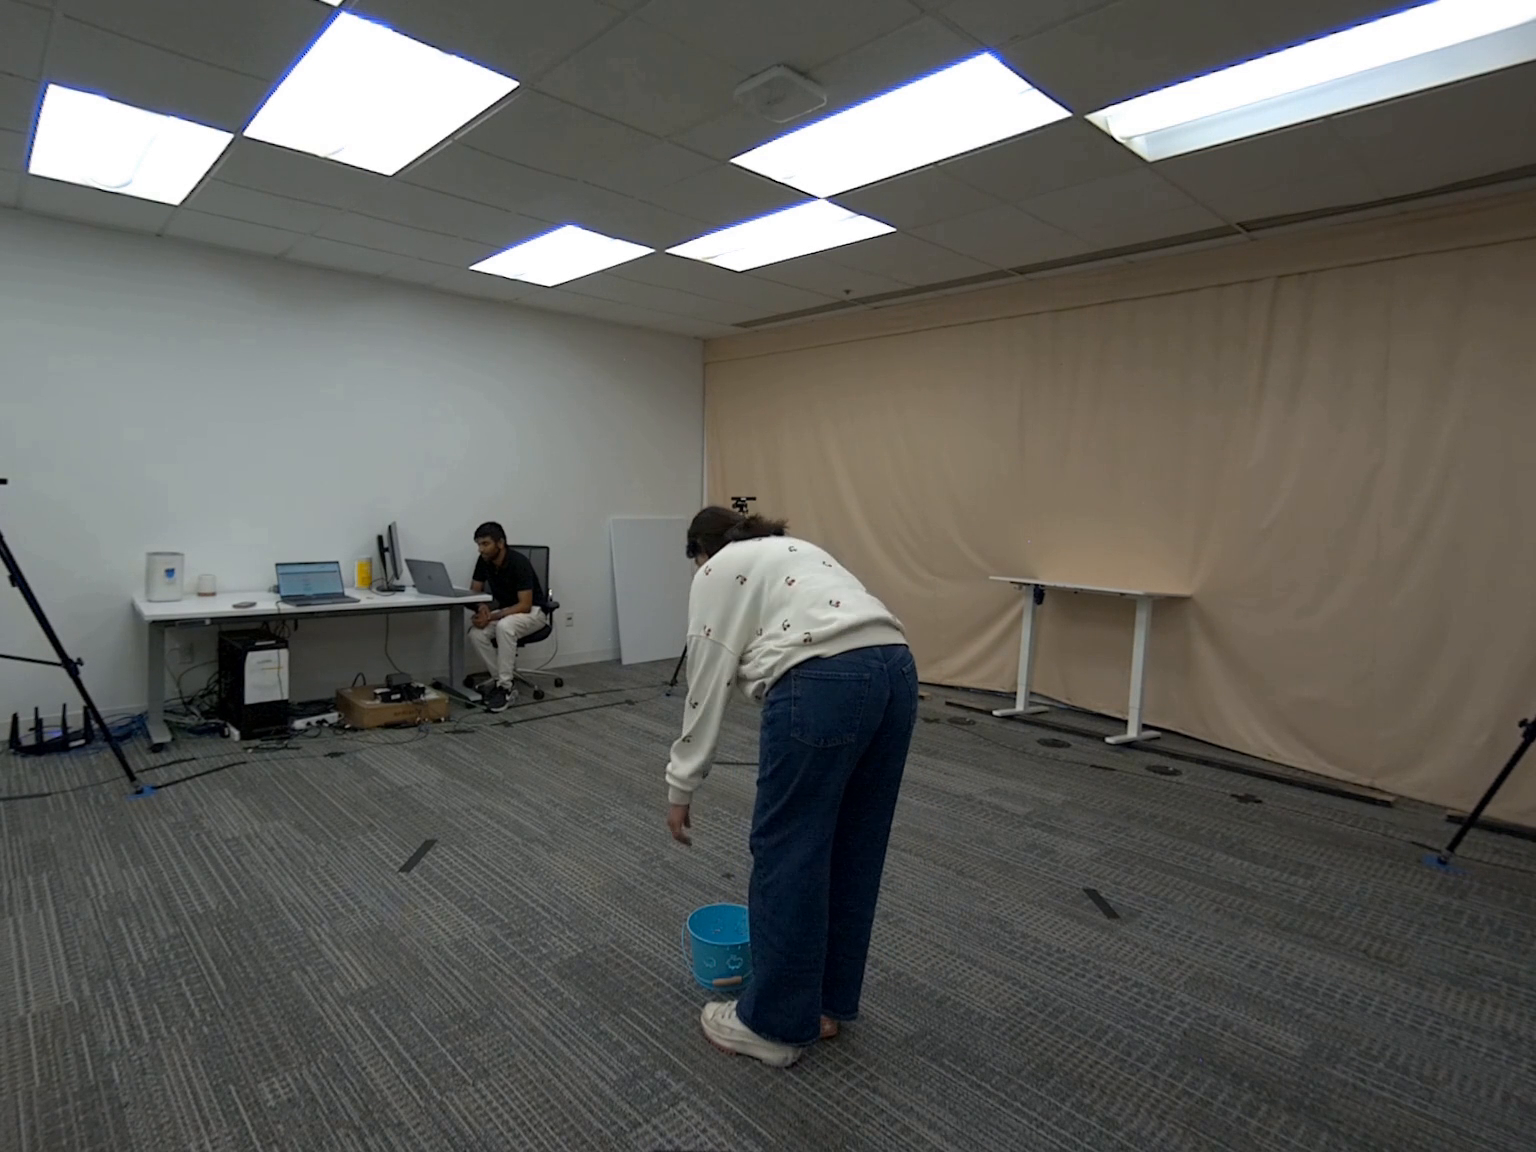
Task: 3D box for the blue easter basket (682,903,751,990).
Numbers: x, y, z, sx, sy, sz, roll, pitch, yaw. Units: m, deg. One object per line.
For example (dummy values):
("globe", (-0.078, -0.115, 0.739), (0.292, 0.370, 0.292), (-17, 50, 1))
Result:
("blue easter basket", (-0.137, 1.089, 2.460), (0.243, 0.155, 0.244), (1, 5, -1))
